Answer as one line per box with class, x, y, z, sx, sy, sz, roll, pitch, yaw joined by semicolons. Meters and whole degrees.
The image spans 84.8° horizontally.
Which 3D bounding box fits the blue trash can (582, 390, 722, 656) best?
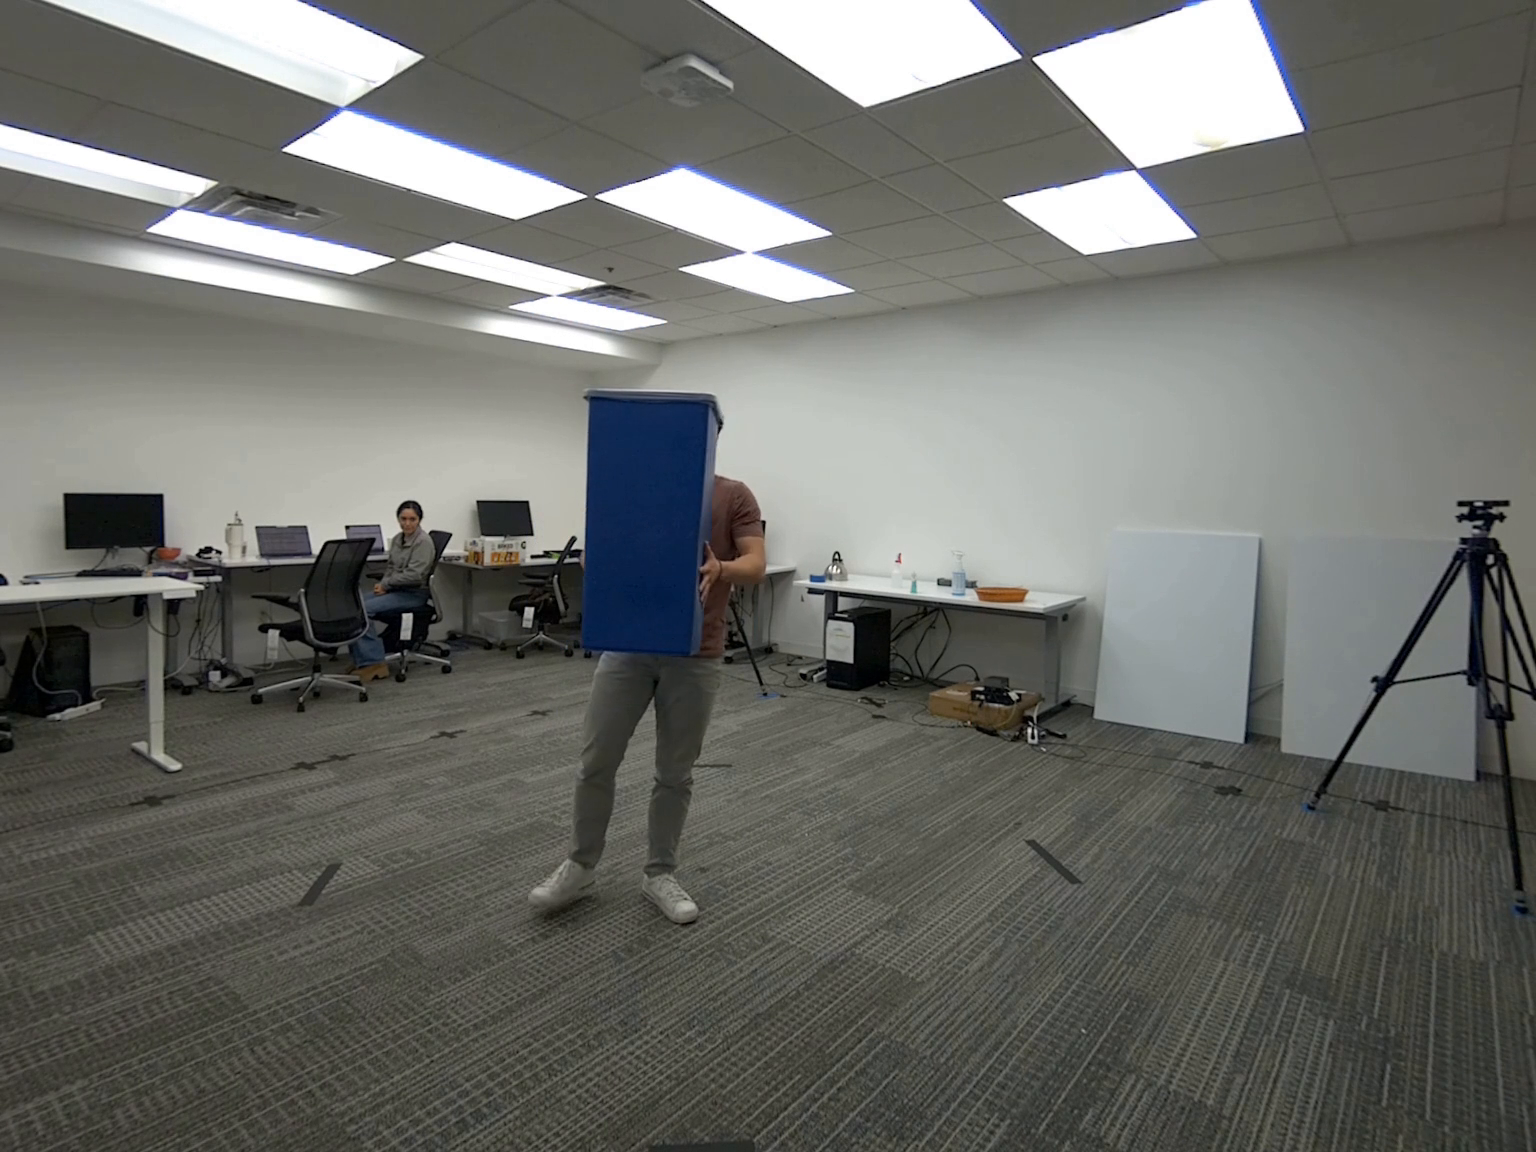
blue trash can;-0.345;-0.153;2.450;0.379;0.717;0.371;1;-5;1
